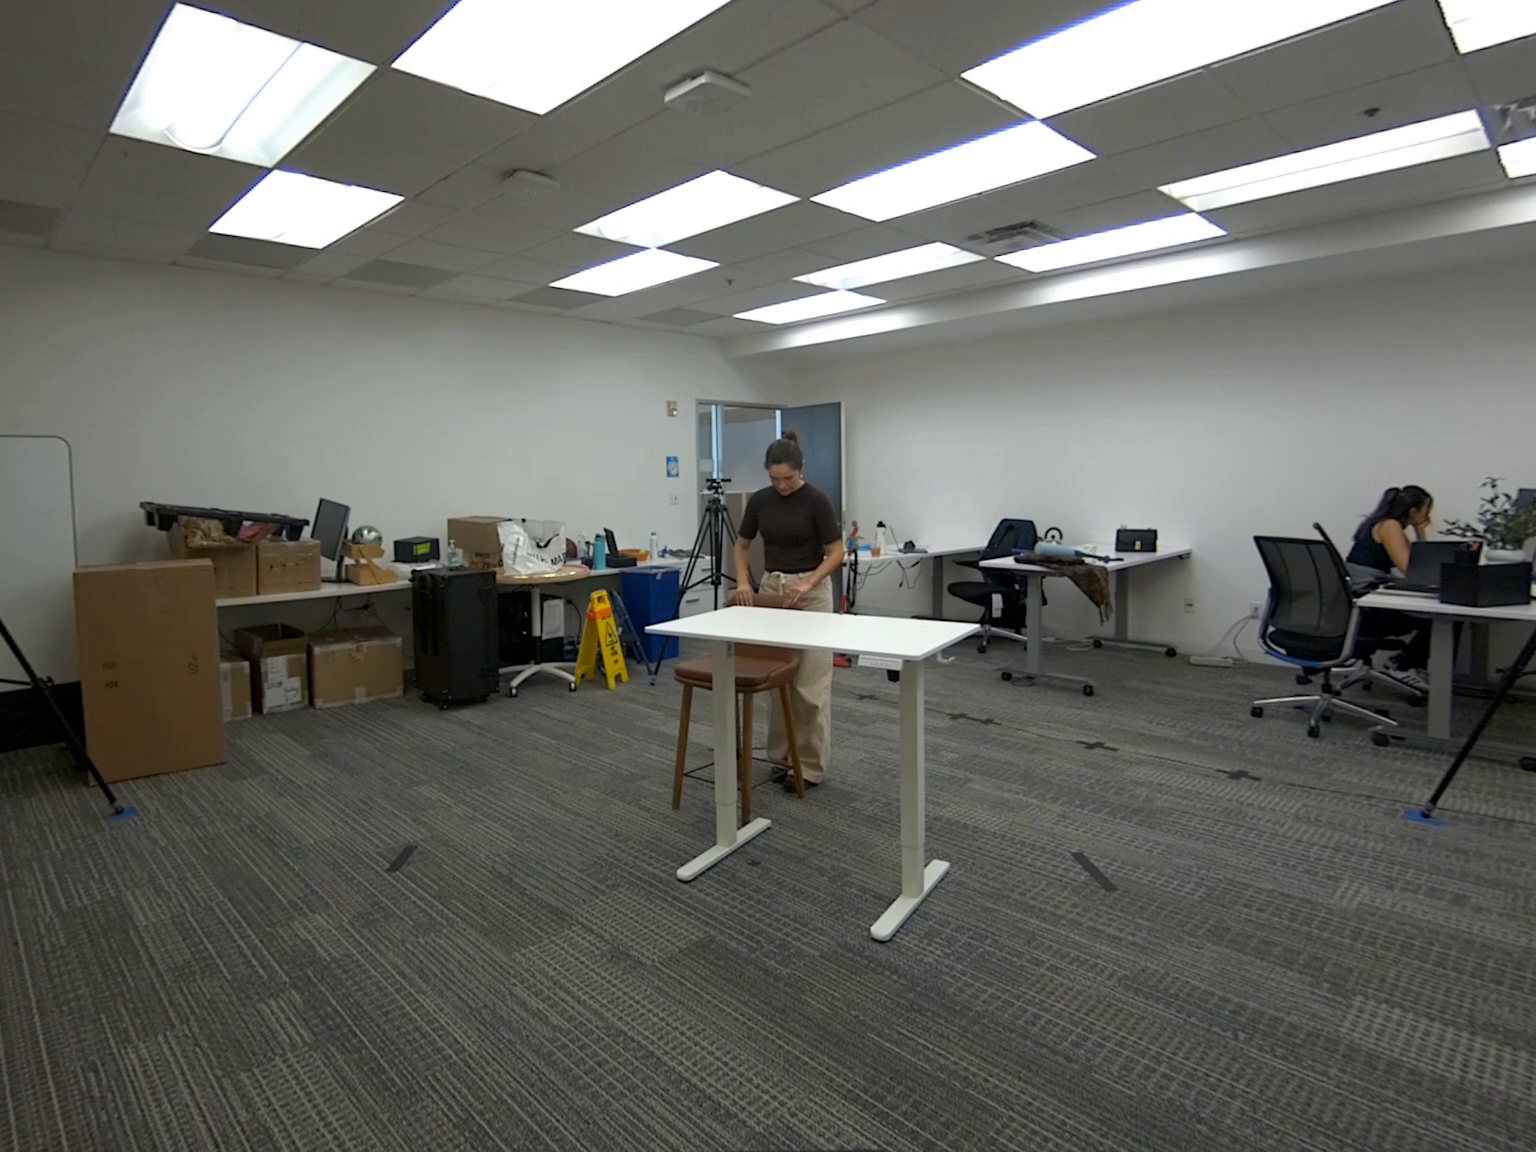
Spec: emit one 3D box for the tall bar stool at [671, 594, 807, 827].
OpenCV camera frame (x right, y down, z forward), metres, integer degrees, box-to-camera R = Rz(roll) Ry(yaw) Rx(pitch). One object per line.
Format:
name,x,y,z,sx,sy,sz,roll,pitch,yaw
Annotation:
tall bar stool,-0.121,0.540,3.676,0.470,0.889,0.455,1,2,37
